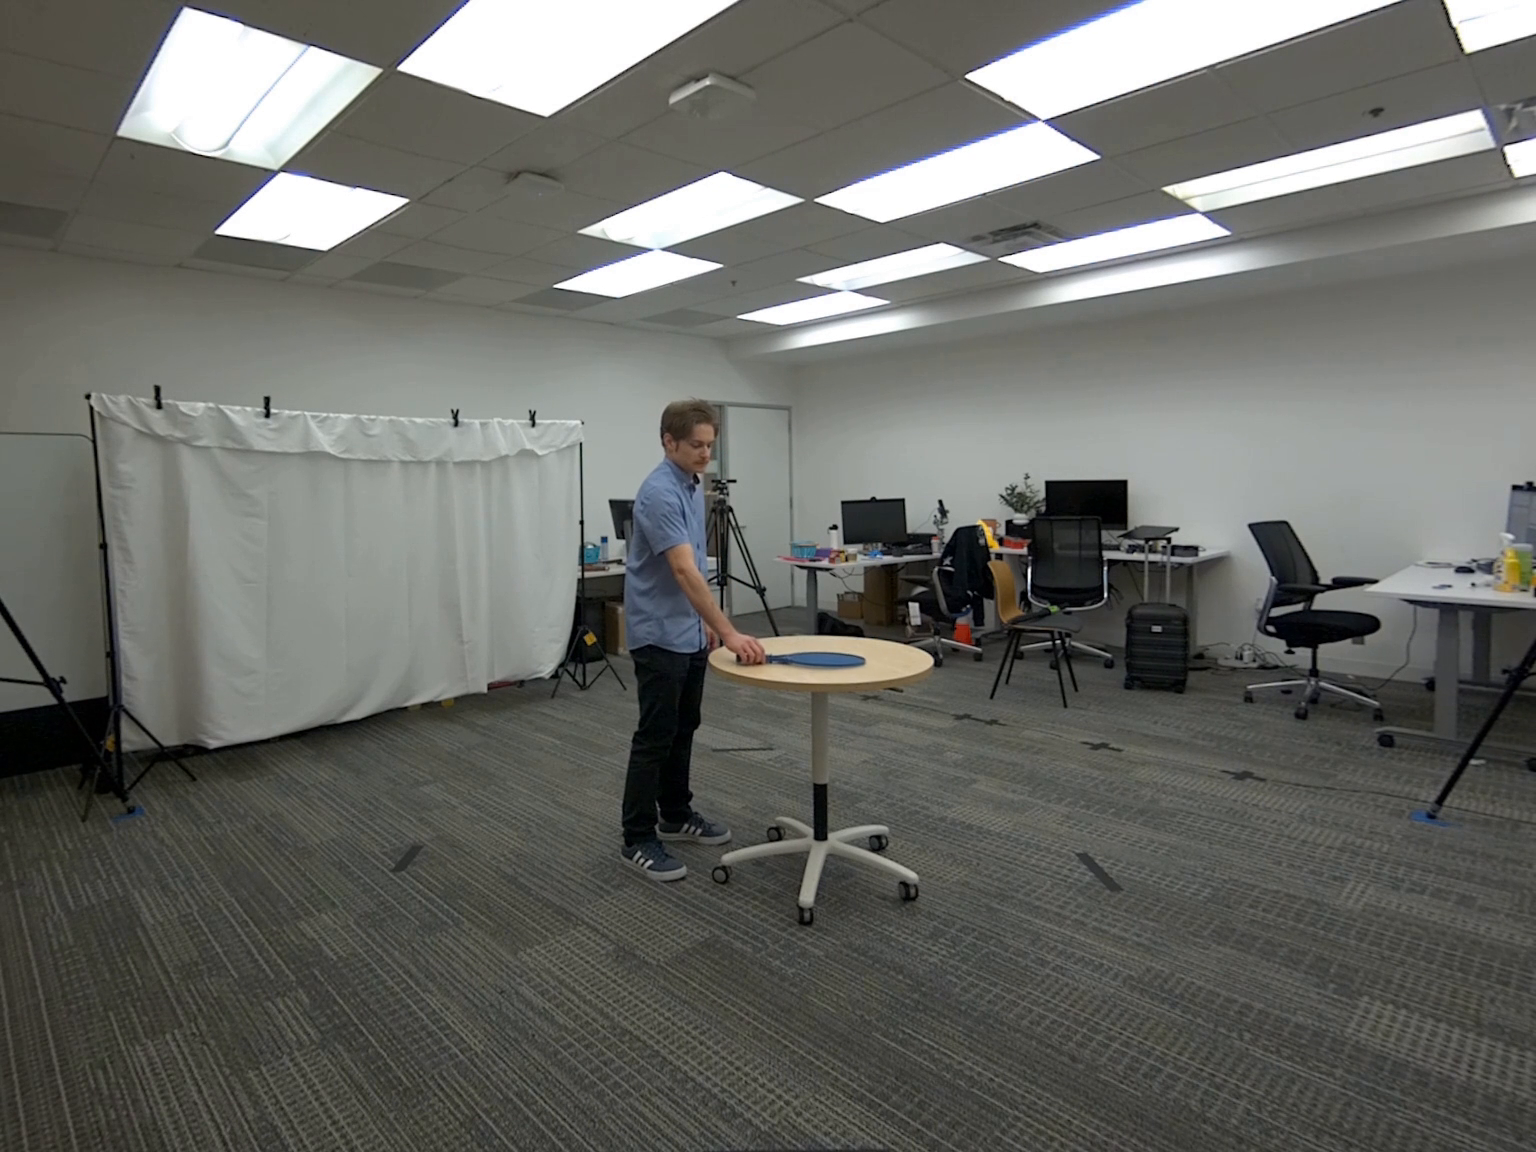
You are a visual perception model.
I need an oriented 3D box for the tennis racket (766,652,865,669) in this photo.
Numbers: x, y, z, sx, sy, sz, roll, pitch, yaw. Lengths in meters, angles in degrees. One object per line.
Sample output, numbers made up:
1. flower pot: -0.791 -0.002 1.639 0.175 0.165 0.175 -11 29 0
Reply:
1. tennis racket: 0.113 0.277 2.862 0.433 0.031 0.214 1 5 1
